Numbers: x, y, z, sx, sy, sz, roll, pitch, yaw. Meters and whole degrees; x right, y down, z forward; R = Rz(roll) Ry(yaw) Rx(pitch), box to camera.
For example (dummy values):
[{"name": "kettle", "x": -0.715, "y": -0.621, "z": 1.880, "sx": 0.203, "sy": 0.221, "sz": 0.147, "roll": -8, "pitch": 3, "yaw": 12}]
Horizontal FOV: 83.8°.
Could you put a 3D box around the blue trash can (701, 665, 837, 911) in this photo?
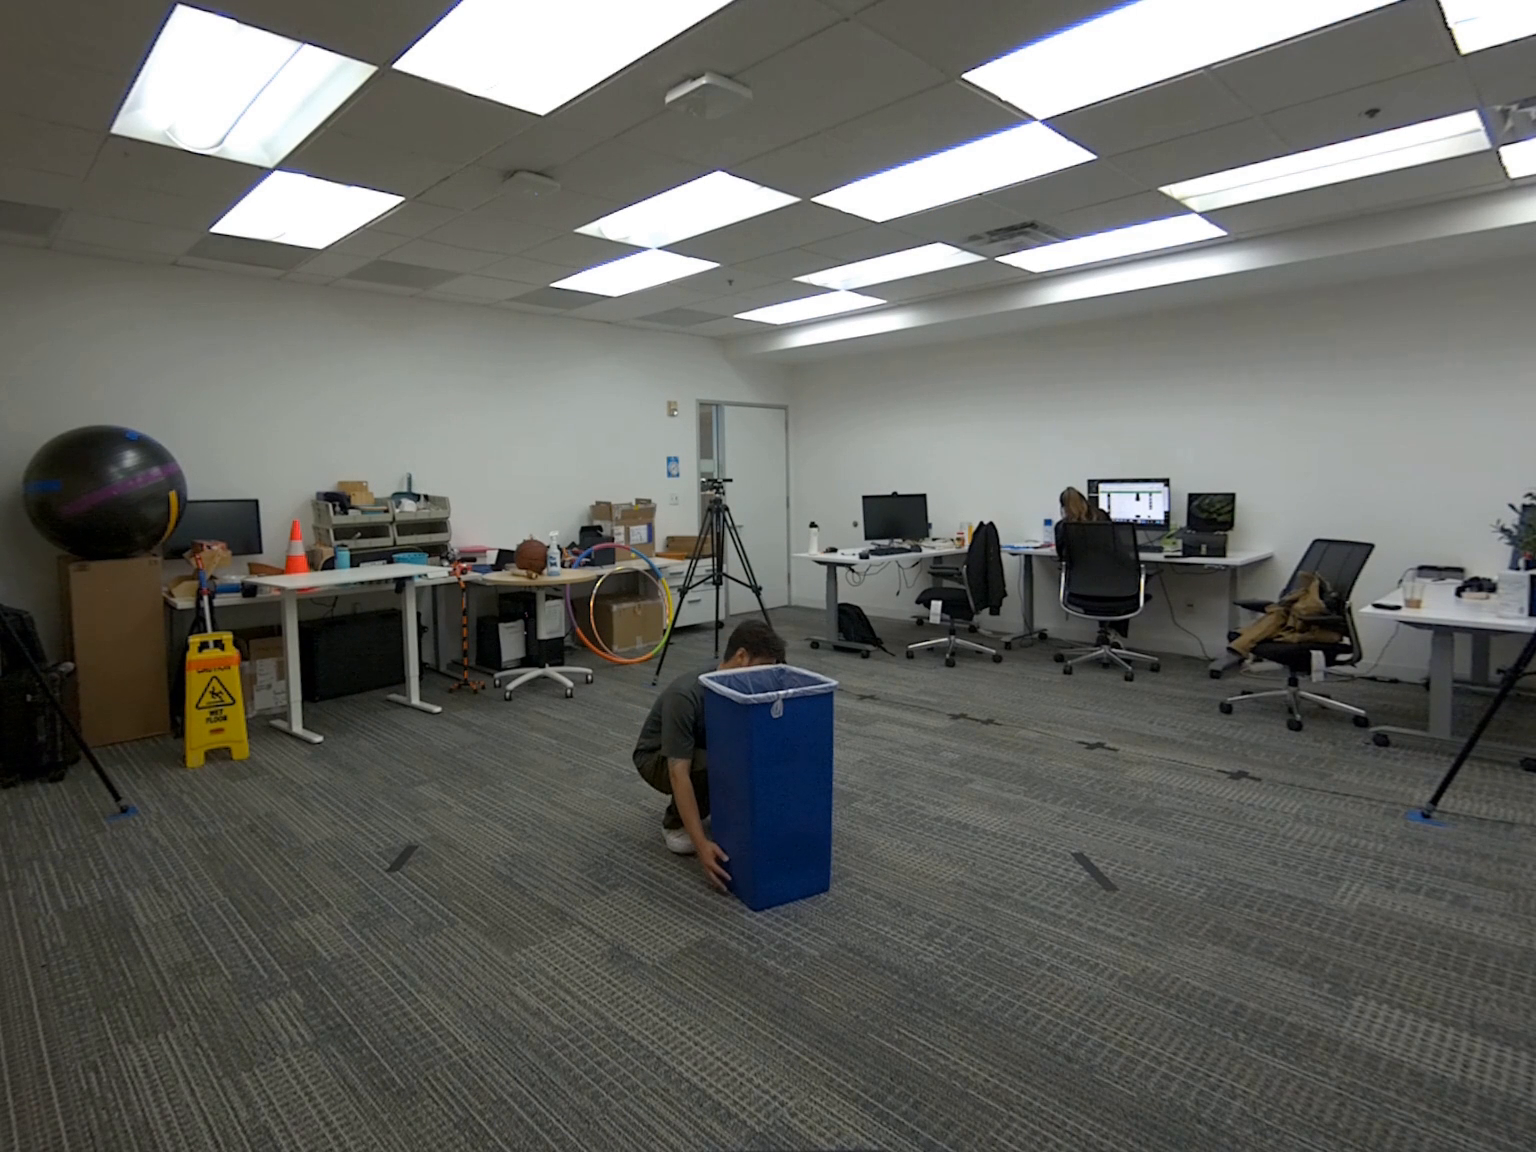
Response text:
[{"name": "blue trash can", "x": 0.011, "y": 0.703, "z": 2.938, "sx": 0.365, "sy": 0.711, "sz": 0.388, "roll": -4, "pitch": 4, "yaw": -30}]
